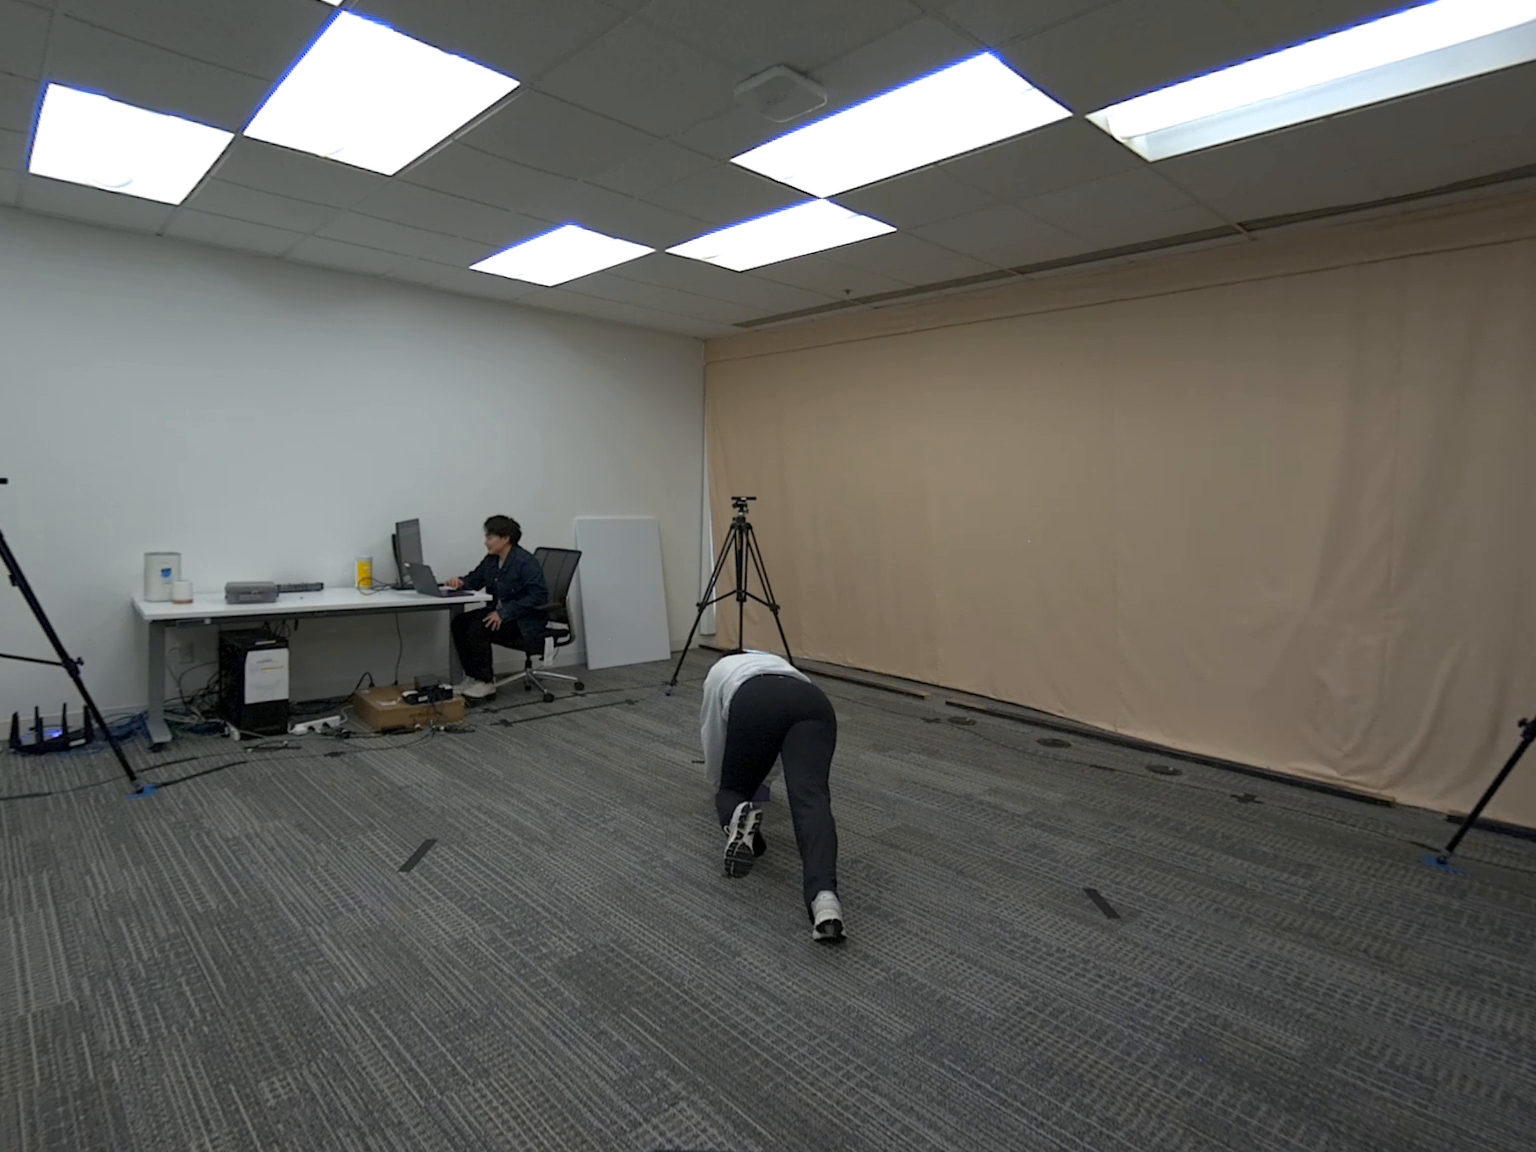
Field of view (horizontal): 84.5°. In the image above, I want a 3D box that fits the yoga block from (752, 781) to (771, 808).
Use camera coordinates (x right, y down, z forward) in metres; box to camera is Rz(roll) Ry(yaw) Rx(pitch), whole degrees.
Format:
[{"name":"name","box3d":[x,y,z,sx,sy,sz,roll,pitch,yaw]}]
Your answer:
[{"name":"yoga block","box3d":[-0.130,1.006,3.950,0.227,0.076,0.150,0,4,-11]}]
